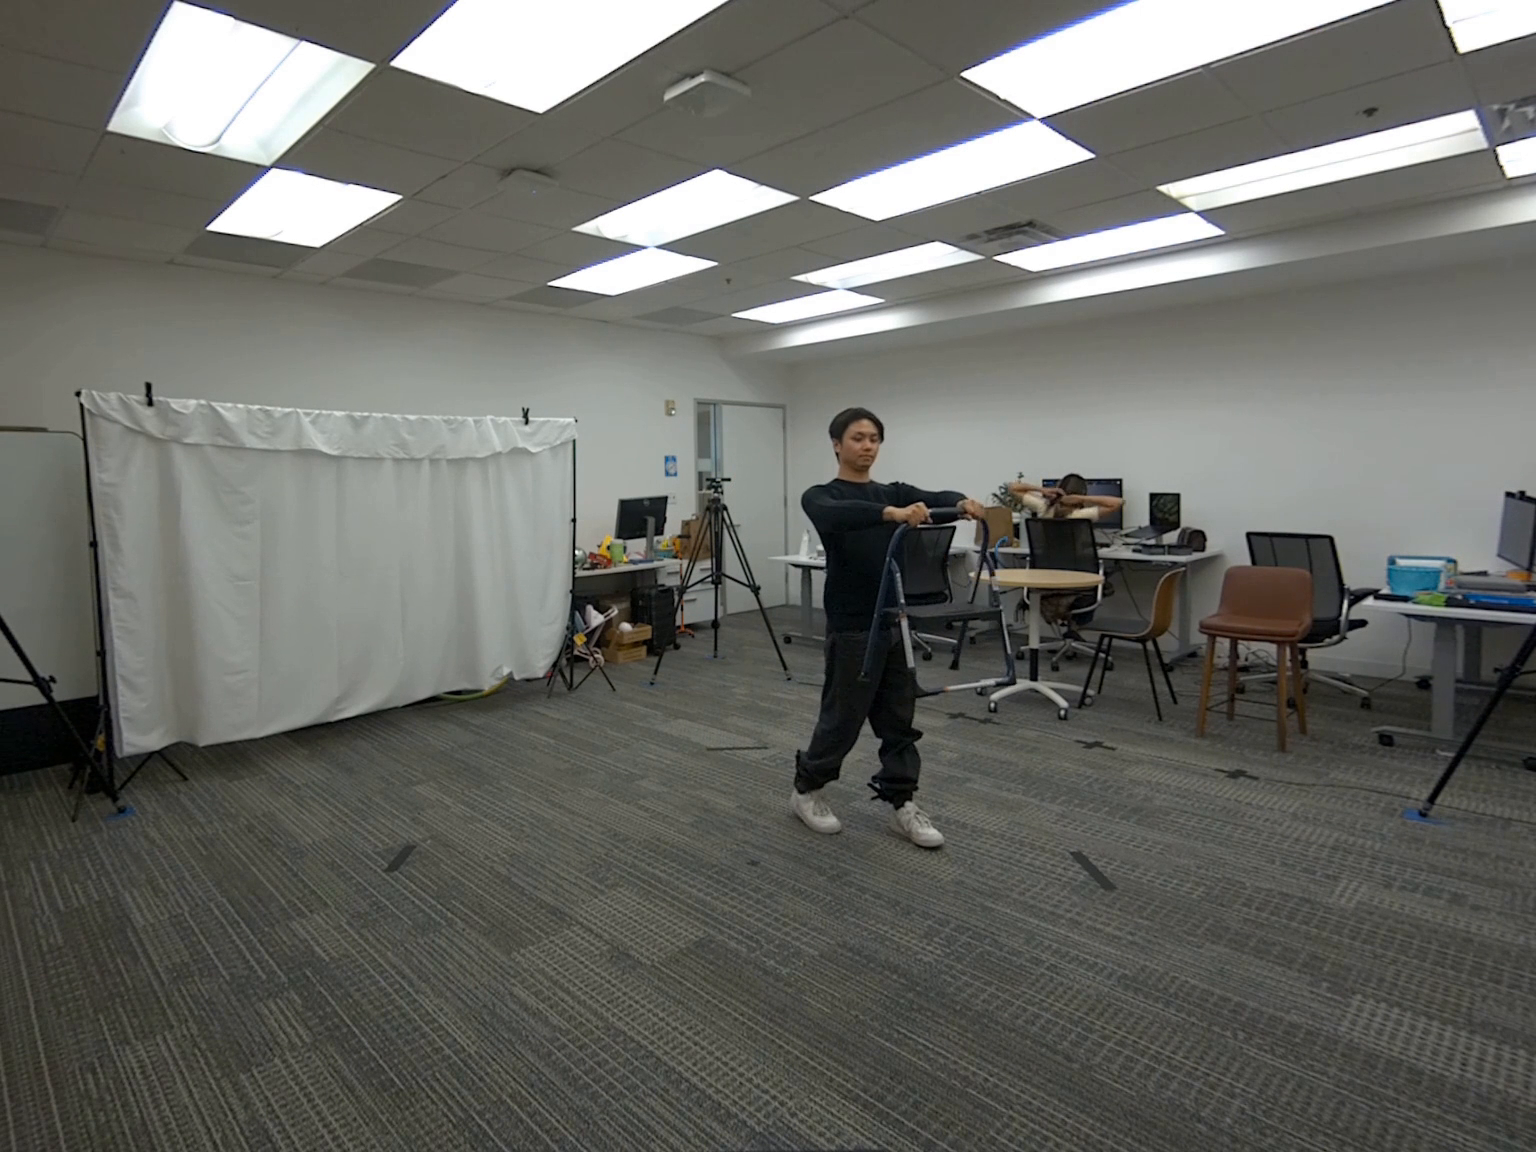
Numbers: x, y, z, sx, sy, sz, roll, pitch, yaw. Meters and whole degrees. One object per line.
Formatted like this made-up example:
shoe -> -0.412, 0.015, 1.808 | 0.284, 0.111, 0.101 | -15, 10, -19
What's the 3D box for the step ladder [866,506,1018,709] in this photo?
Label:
step ladder -> 0.570, 0.068, 2.960 | 0.422, 0.604, 0.357 | -2, 3, -25
